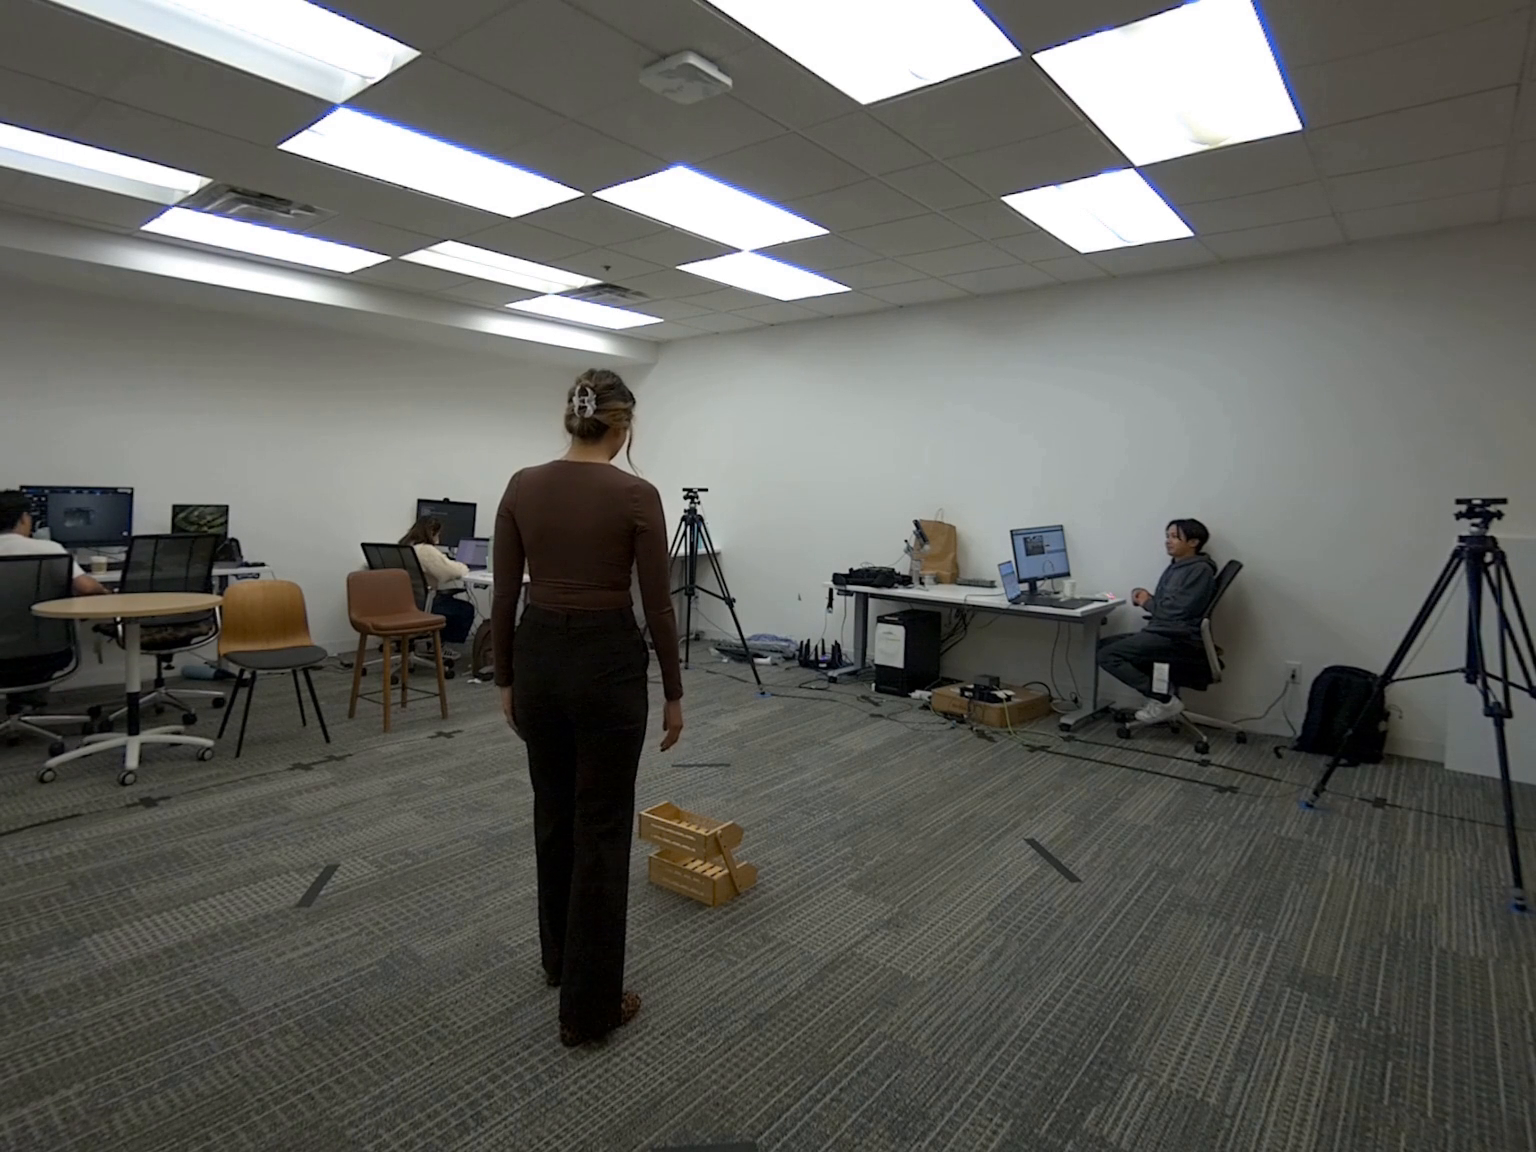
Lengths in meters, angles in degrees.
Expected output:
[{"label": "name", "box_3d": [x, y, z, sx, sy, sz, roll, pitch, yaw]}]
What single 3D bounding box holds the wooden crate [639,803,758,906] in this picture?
[{"label": "wooden crate", "box_3d": [-0.250, 0.946, 2.986, 0.335, 0.272, 0.293, 4, 5, 36]}]
